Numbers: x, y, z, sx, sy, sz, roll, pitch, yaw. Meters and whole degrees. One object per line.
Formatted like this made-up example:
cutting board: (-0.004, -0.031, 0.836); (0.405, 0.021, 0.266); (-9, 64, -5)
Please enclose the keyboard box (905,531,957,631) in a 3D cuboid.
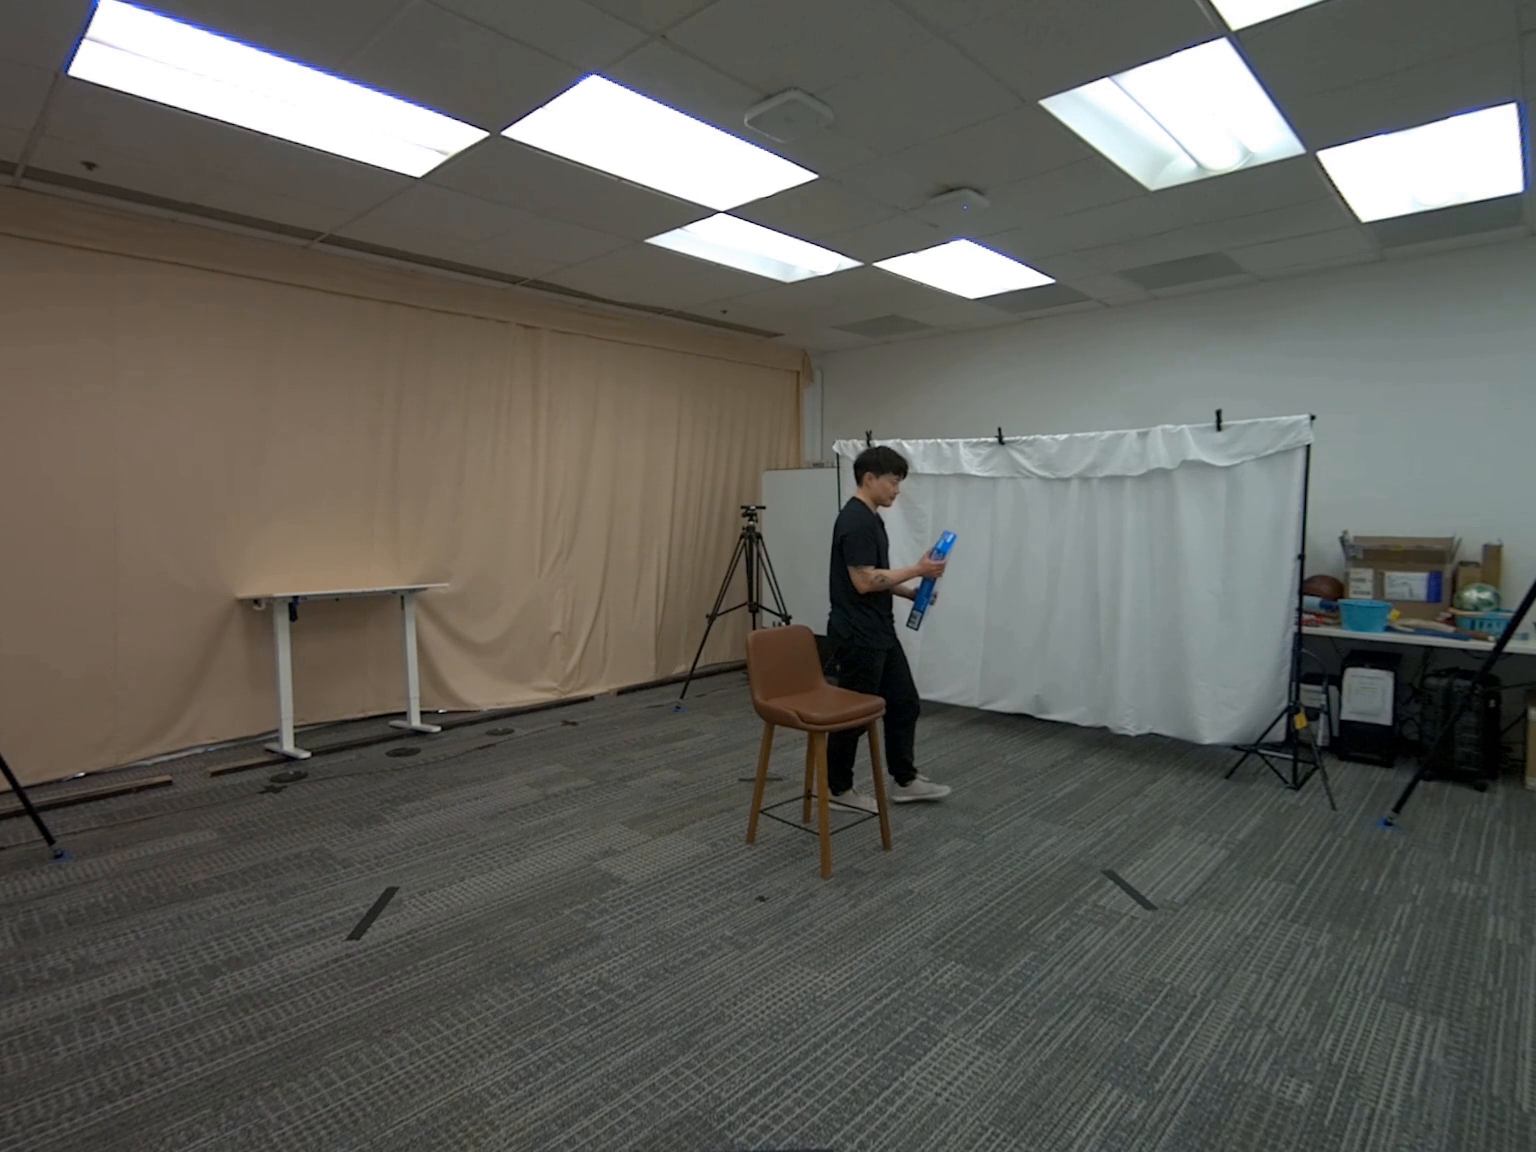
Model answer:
keyboard box: (0.727, 0.025, 3.714); (0.060, 0.432, 0.174); (23, 34, 15)
